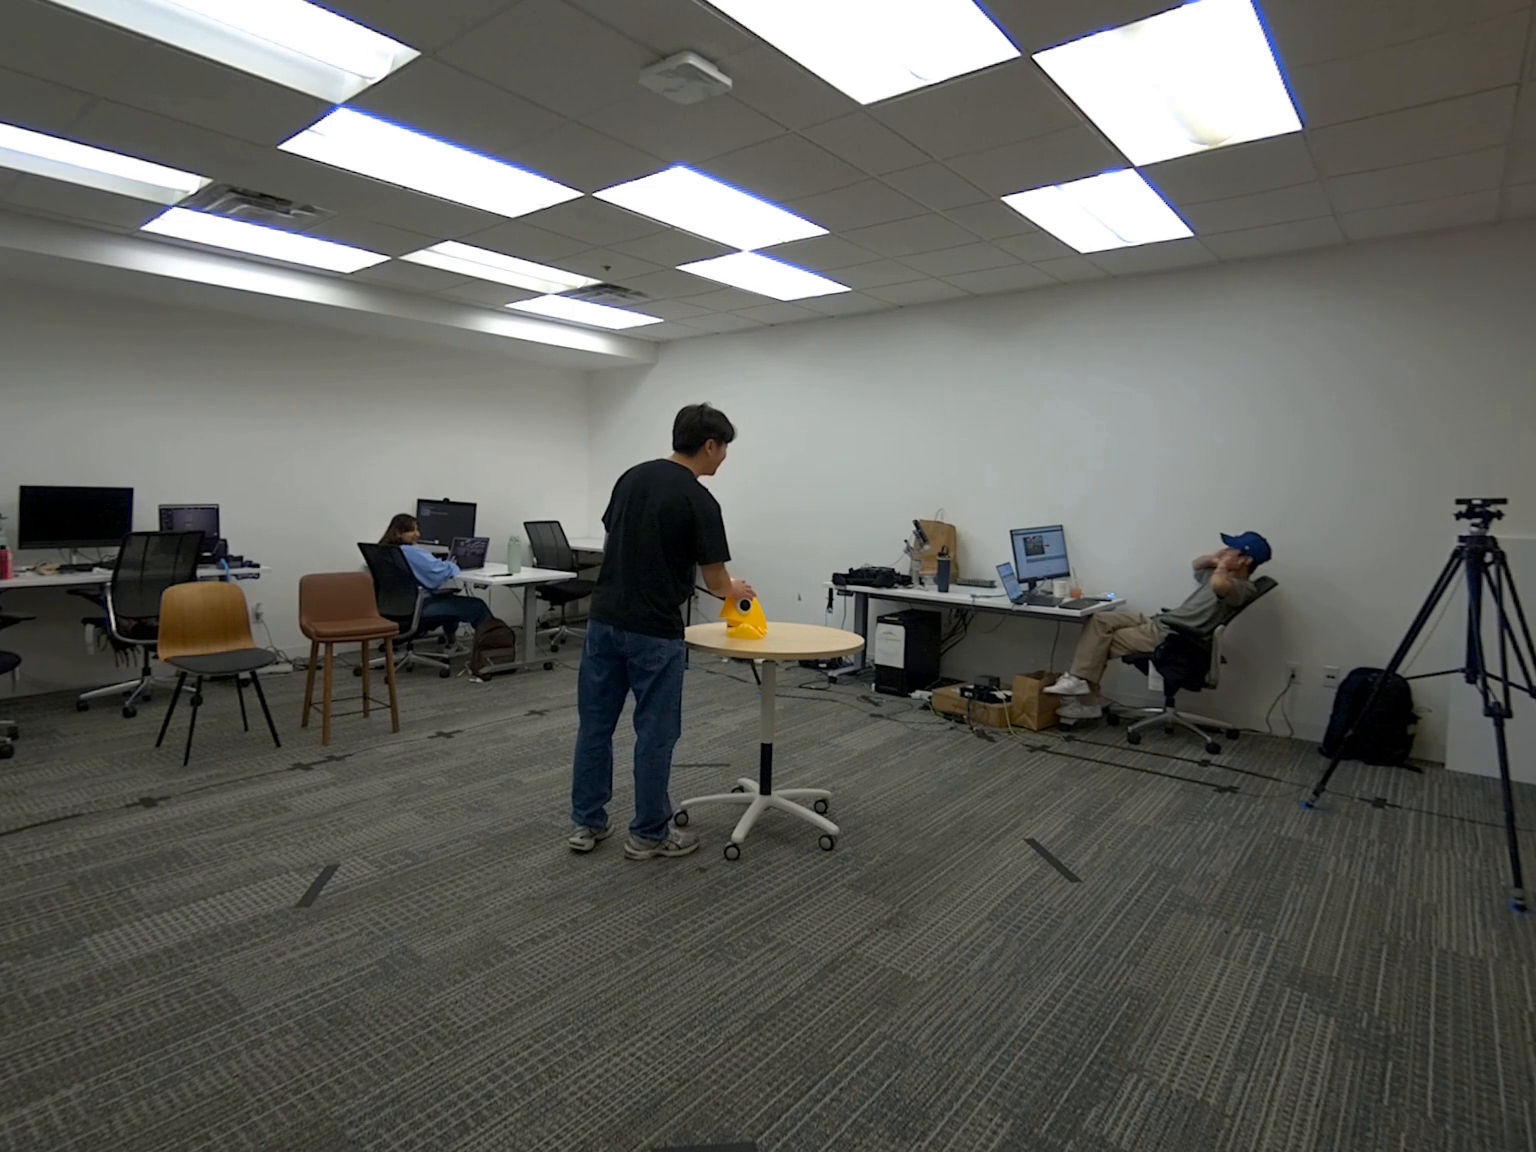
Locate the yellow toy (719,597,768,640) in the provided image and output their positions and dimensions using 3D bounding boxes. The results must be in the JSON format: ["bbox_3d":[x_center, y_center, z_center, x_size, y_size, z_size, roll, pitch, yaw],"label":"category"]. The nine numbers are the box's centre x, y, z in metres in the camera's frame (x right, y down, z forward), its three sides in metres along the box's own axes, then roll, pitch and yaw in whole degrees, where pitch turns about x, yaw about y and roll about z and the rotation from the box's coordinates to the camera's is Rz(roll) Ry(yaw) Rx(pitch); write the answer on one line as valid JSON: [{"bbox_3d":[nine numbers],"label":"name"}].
[{"bbox_3d":[-0.104,0.125,3.493,0.195,0.230,0.203,2,3,10],"label":"yellow toy"}]
